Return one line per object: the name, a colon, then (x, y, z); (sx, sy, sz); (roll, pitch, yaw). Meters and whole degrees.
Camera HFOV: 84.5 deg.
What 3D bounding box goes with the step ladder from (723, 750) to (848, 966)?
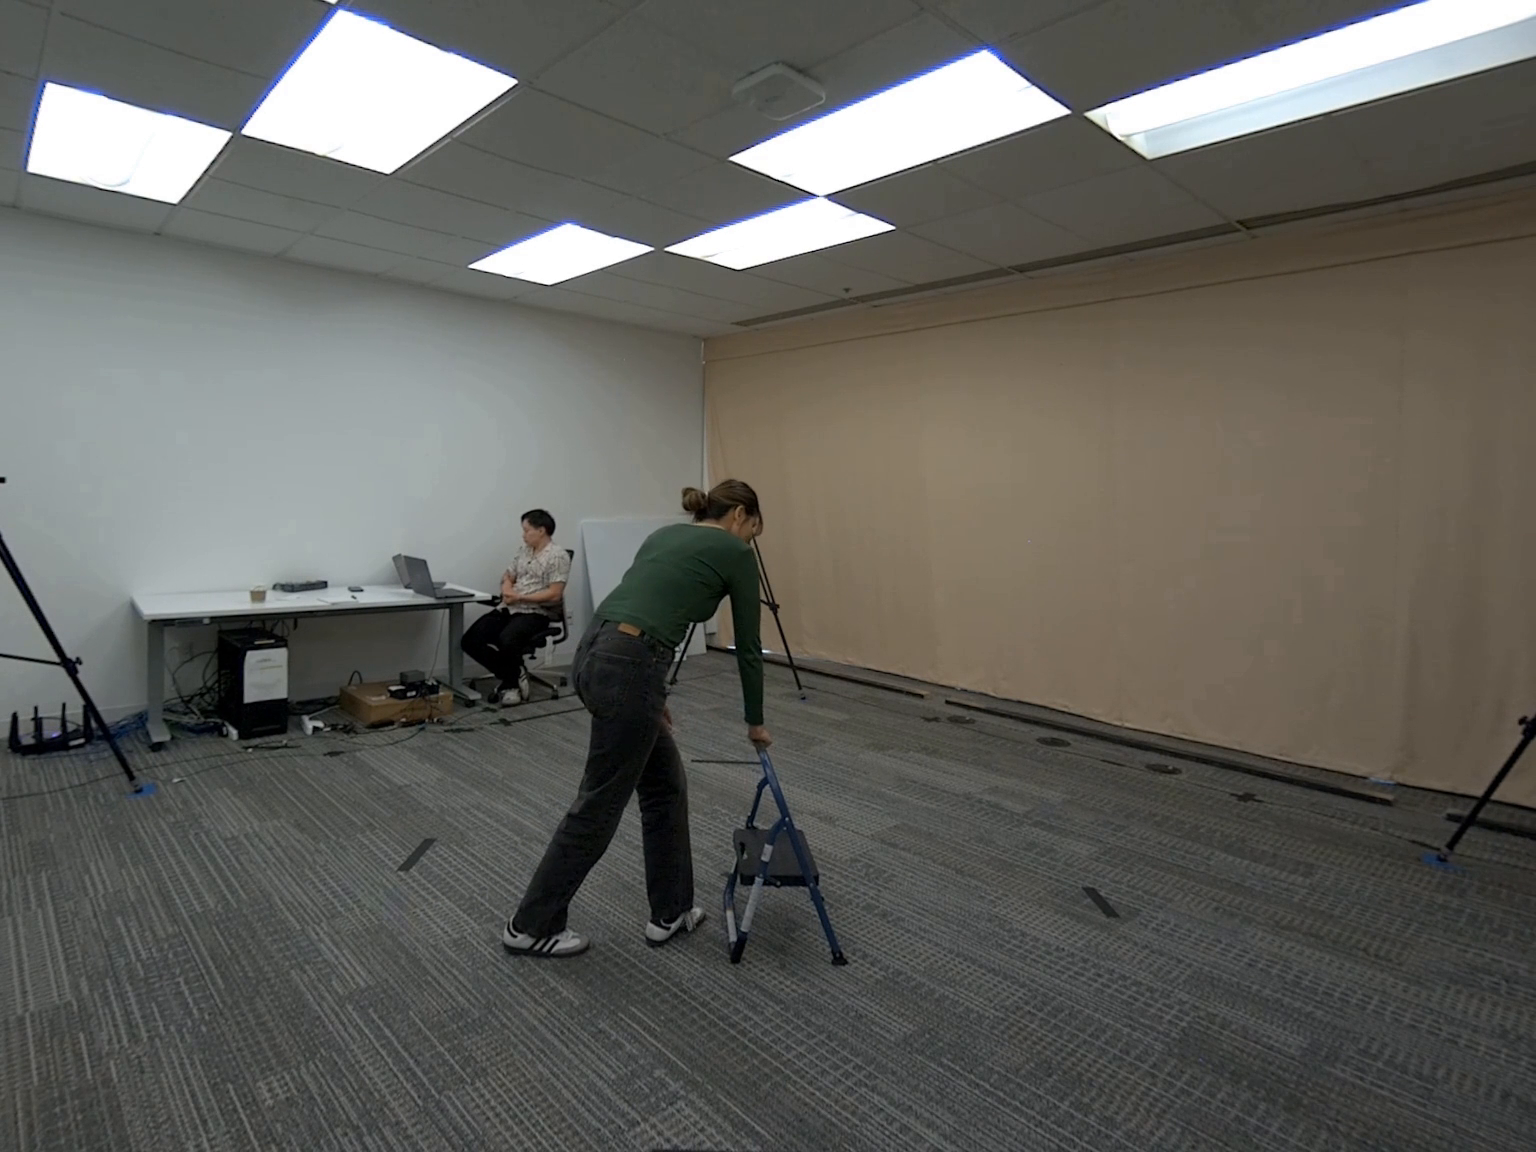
step ladder: (0.038, 0.841, 2.703); (0.348, 0.604, 0.434); (1, 4, -6)
